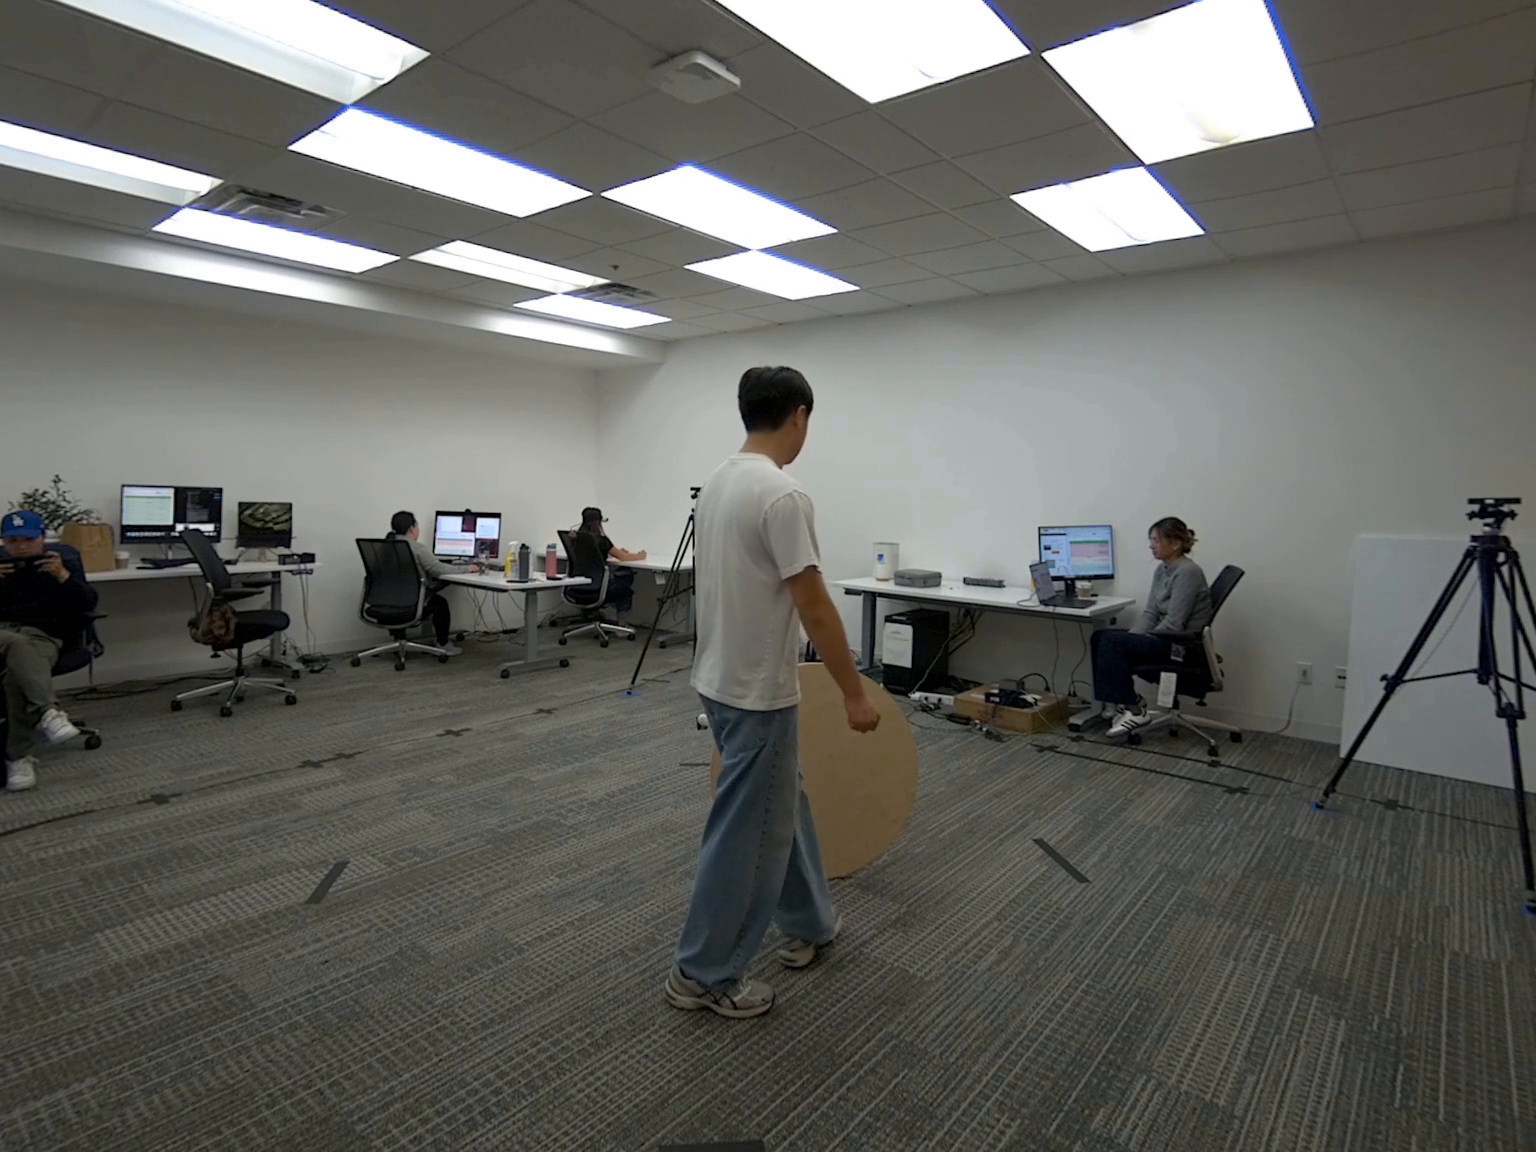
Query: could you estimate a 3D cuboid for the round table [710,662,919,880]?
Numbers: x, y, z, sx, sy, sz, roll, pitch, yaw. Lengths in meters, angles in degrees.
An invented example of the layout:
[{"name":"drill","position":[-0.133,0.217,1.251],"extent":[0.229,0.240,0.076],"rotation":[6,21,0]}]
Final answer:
[{"name":"round table","position":[0.085,0.697,3.445],"extent":[0.777,0.787,0.793],"rotation":[0,-2,-11]}]
